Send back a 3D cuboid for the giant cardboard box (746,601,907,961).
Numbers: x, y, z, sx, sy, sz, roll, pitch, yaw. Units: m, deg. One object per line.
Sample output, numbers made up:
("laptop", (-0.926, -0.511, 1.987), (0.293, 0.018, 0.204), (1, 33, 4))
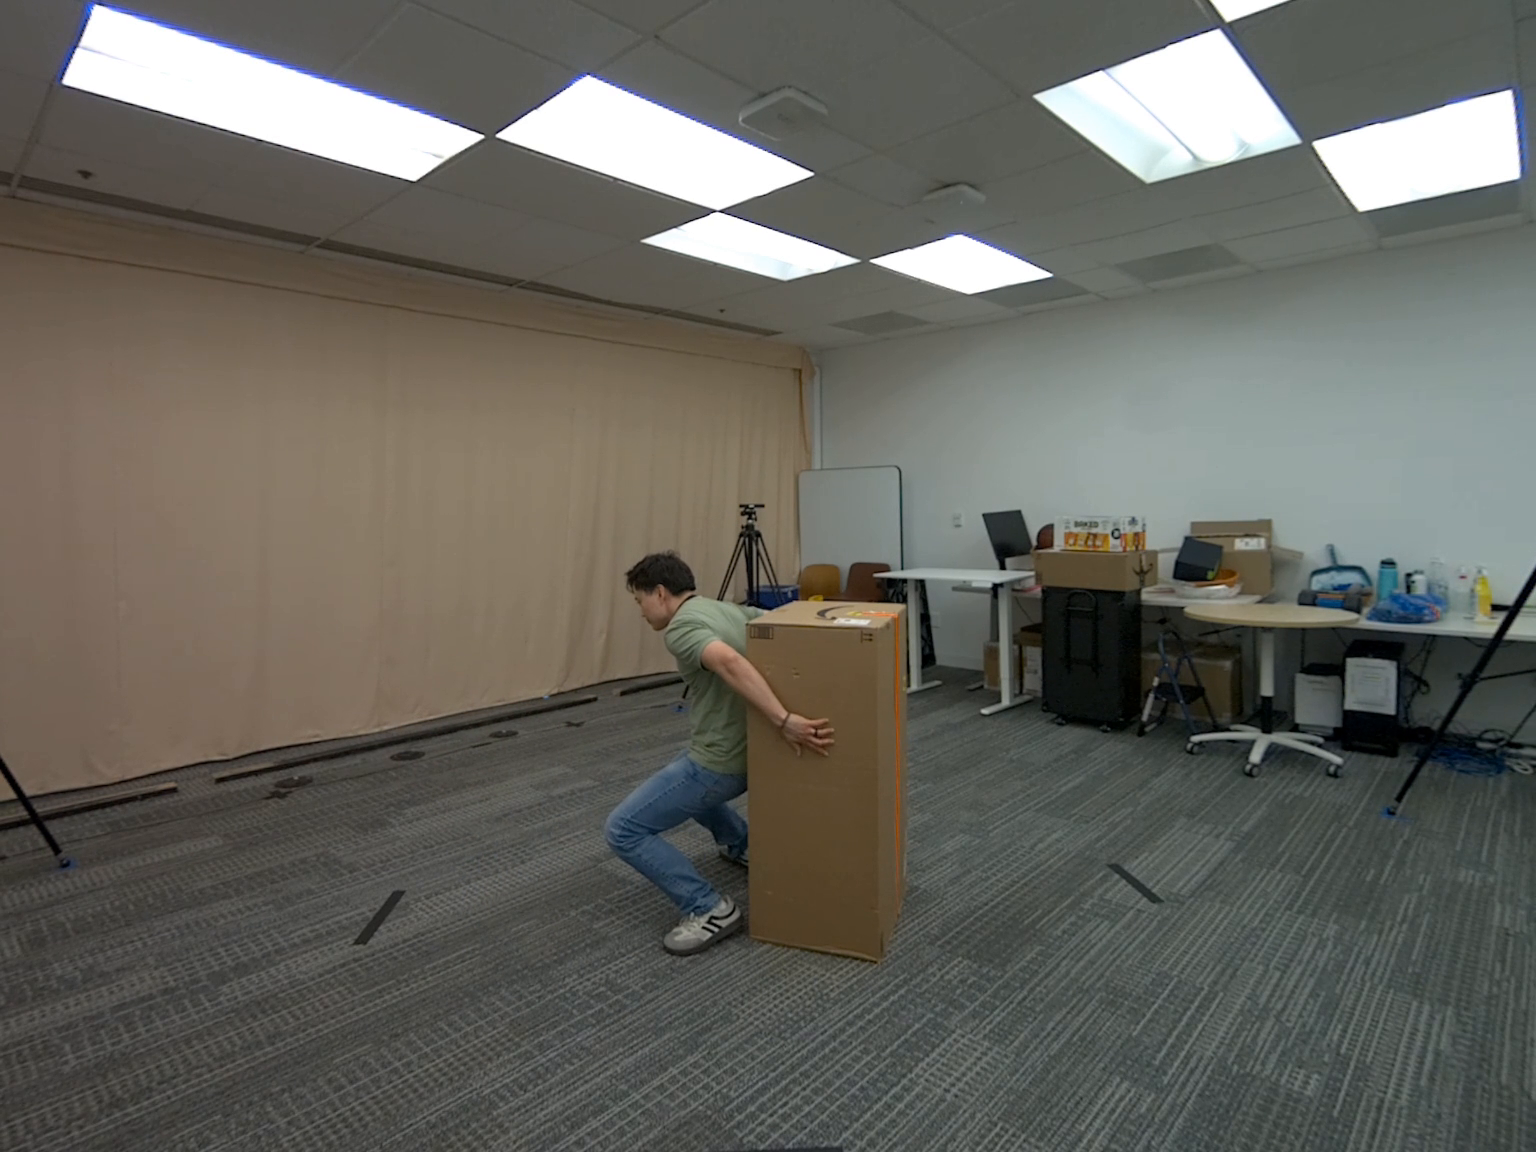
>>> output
("giant cardboard box", (0.229, 0.630, 2.852), (0.435, 1.023, 0.567), (1, 4, 19))
